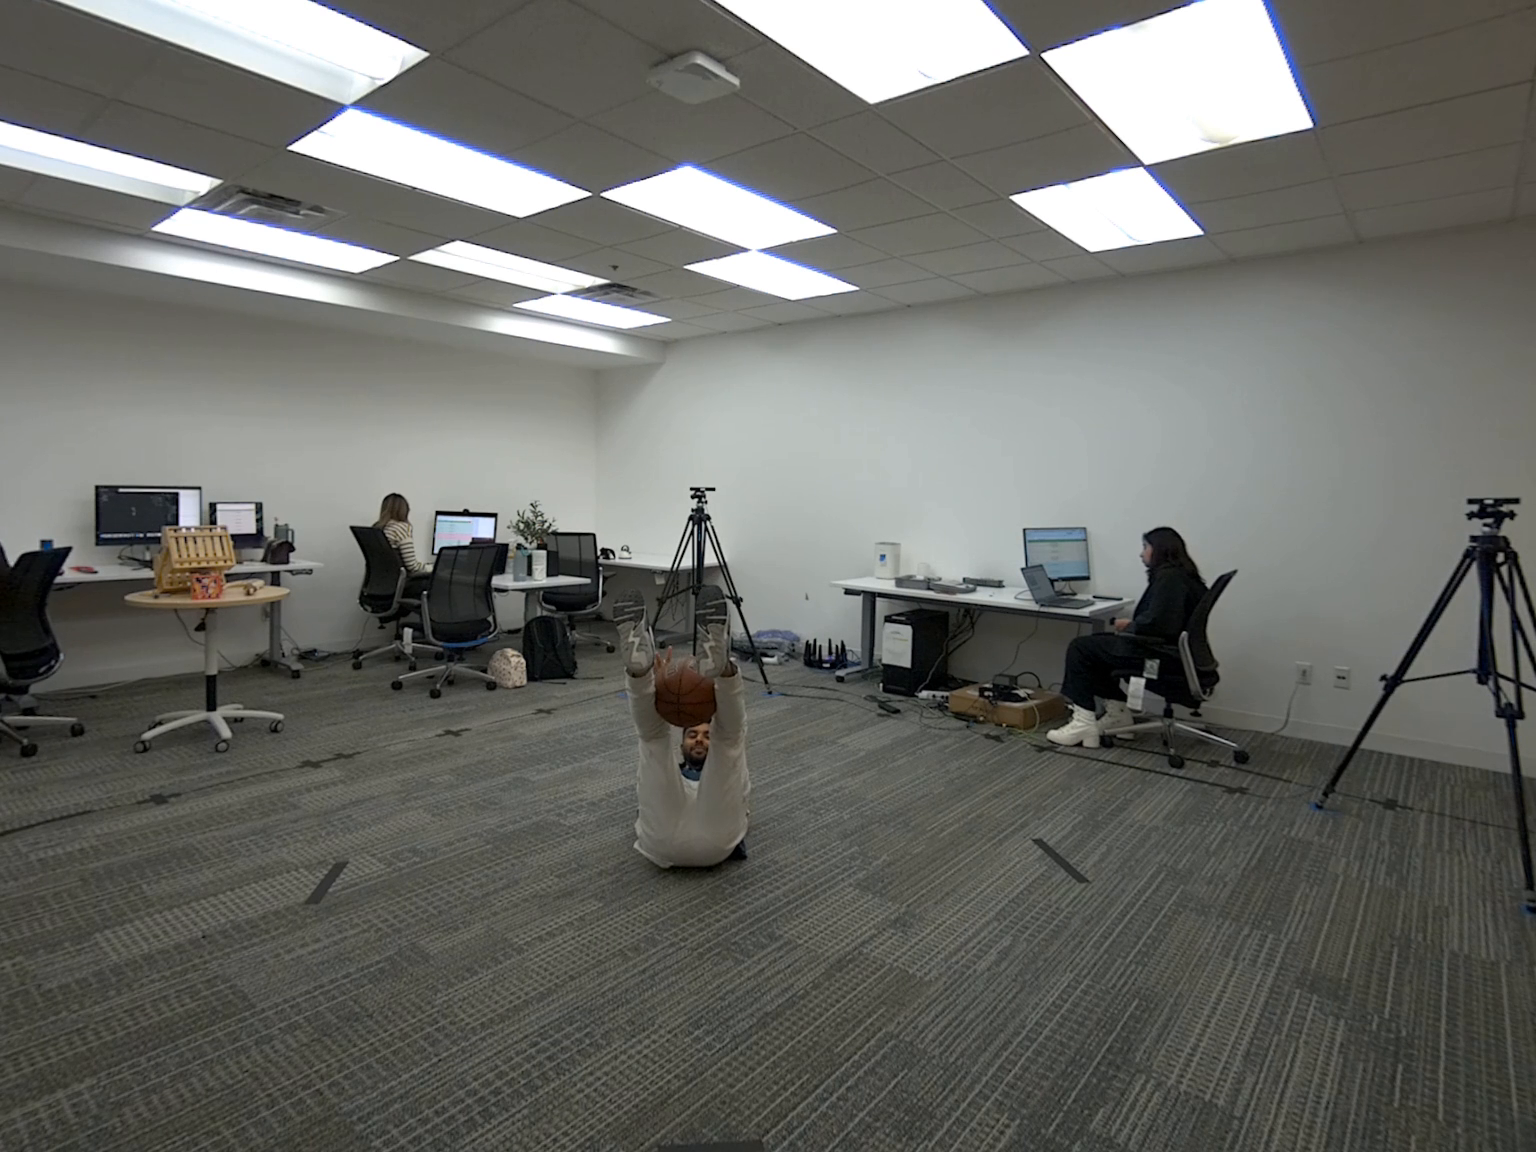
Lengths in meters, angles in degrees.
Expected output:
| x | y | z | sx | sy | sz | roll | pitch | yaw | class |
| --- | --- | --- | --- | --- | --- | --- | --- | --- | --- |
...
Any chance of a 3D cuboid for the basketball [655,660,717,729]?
| x | y | z | sx | sy | sz | roll | pitch | yaw | class |
| --- | --- | --- | --- | --- | --- | --- | --- | --- | --- |
| -0.297 | 0.401 | 2.971 | 0.235 | 0.235 | 0.237 | 1 | 4 | -2 | basketball |
